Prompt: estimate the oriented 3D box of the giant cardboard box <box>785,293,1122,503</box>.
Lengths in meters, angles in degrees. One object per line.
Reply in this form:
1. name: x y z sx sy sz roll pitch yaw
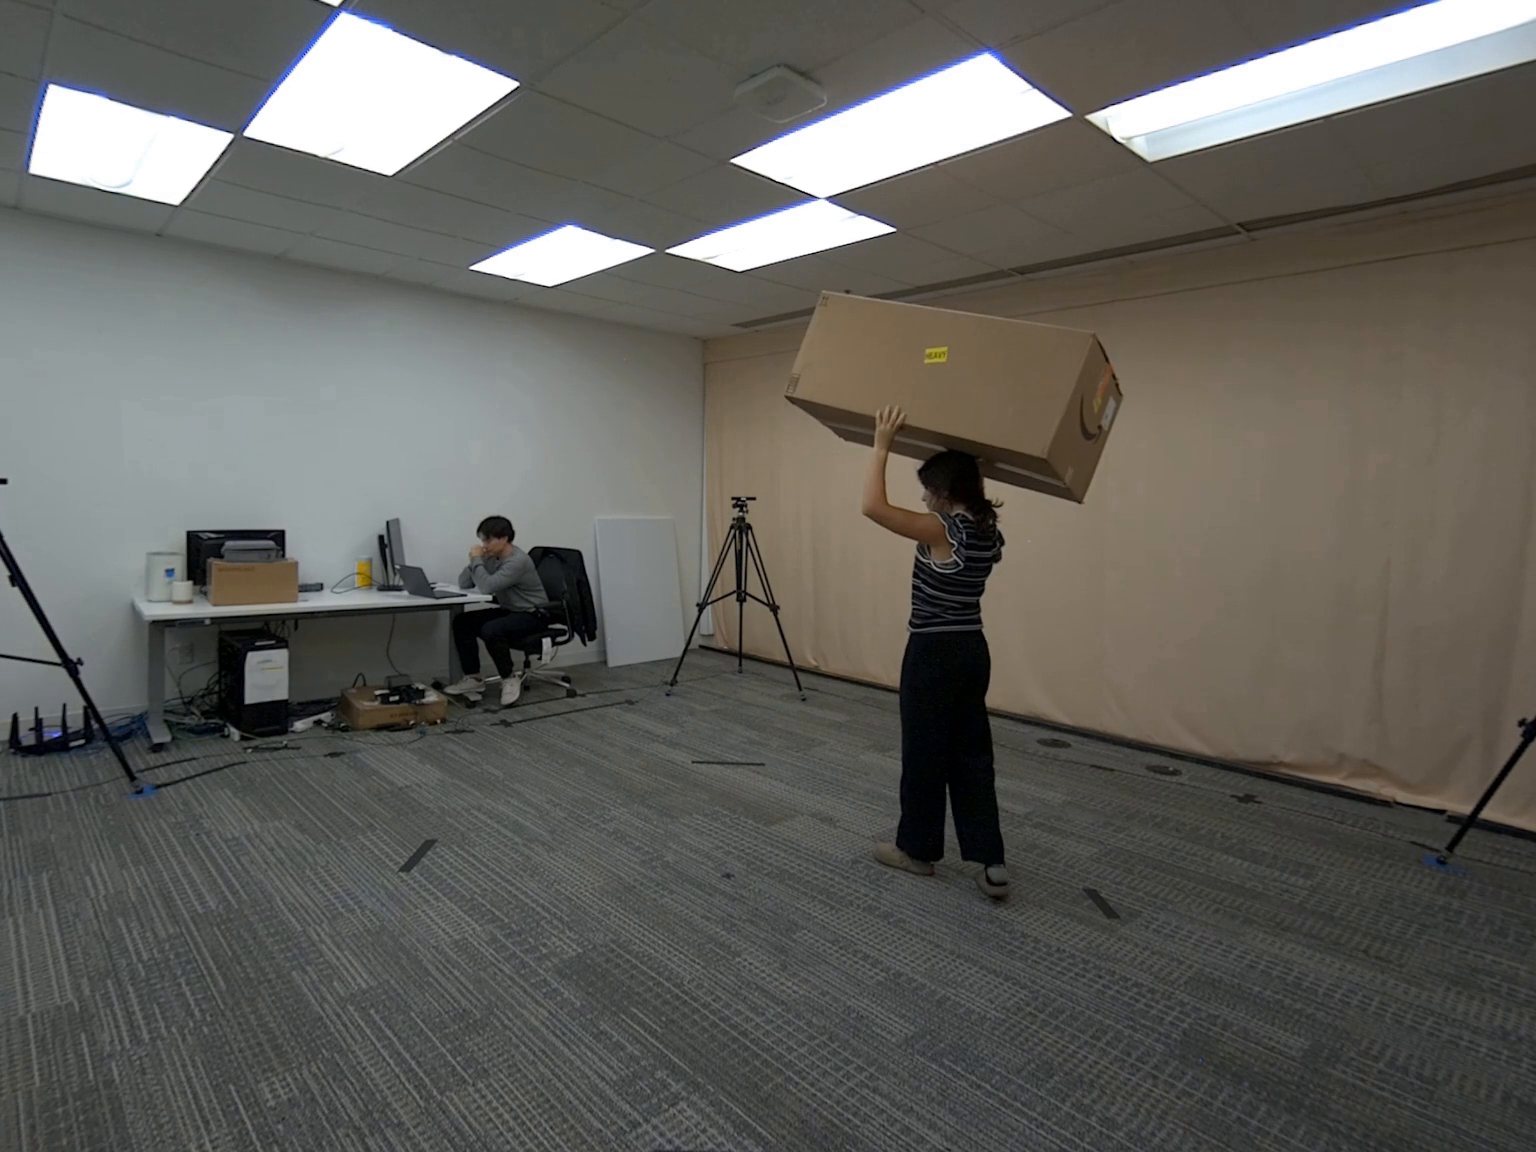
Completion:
1. giant cardboard box: 0.666 -0.662 3.112 1.055 0.426 0.561 22 1 34
